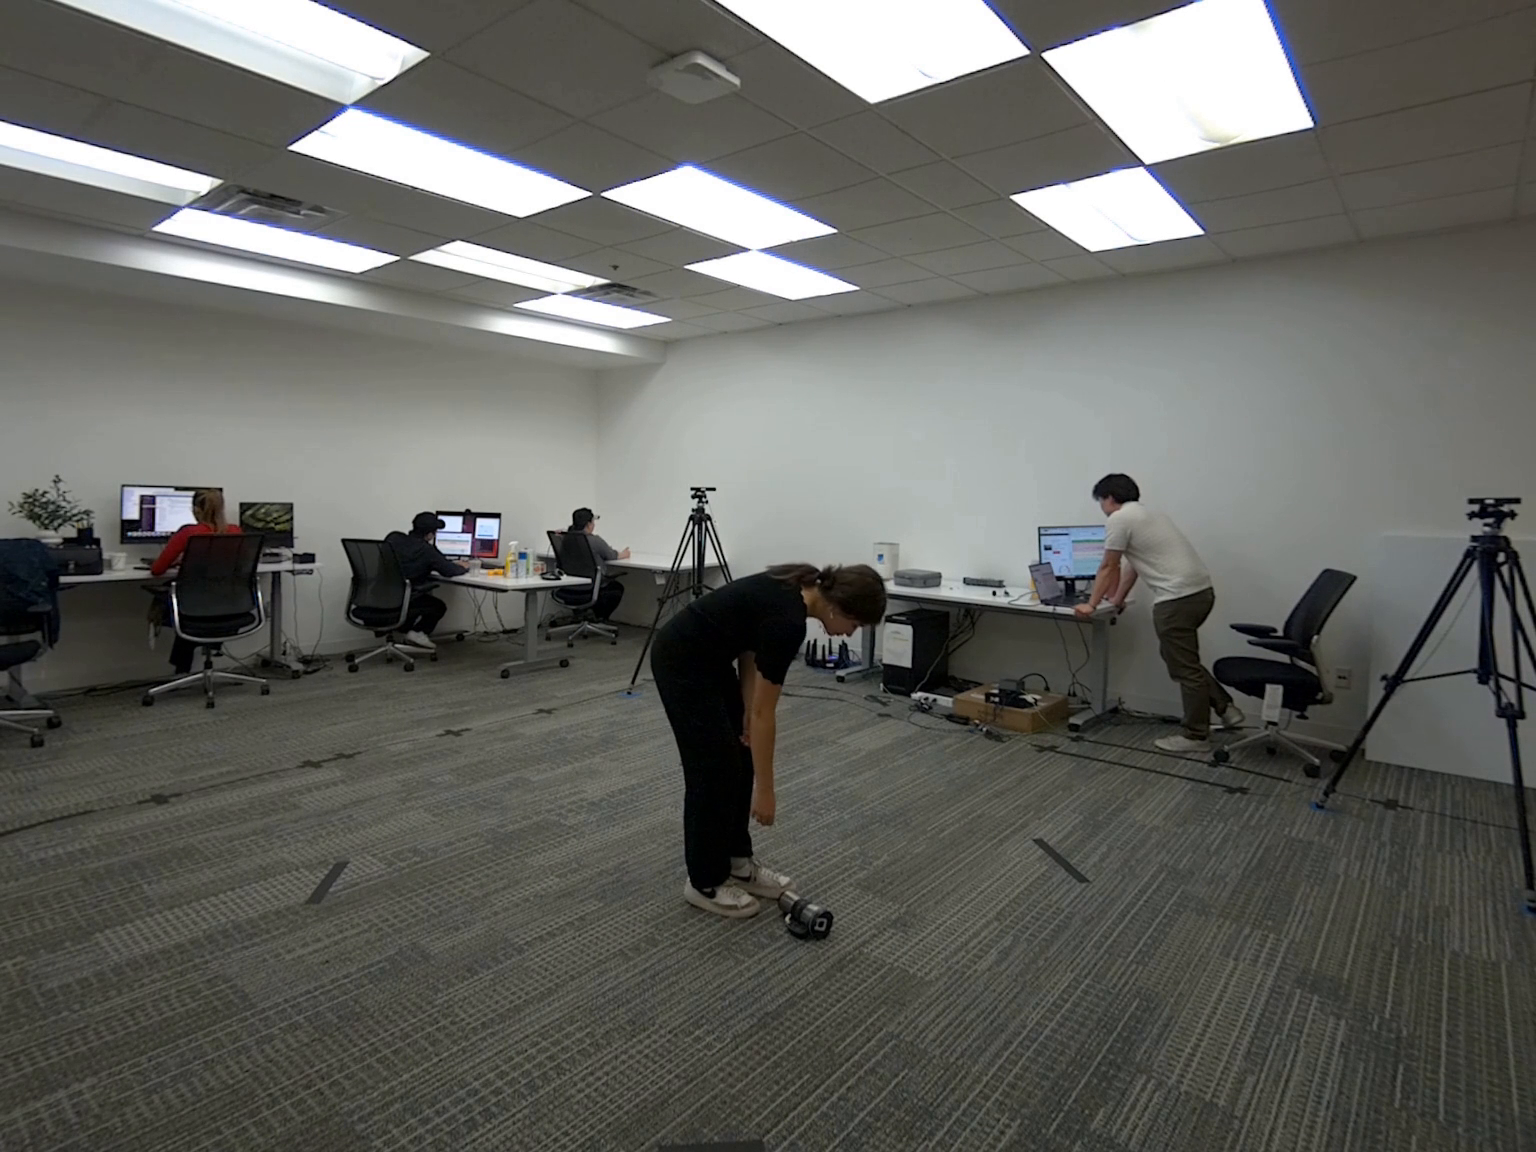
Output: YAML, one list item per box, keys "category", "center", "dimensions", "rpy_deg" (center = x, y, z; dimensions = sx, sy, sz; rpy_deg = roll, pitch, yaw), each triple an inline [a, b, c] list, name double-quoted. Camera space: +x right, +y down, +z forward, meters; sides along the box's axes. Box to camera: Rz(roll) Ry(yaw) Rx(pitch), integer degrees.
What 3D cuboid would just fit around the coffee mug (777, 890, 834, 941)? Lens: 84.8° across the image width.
- category: "coffee mug"
  center: [0.094, 1.064, 2.705]
  dimensions: [0.118, 0.088, 0.209]
  rpy_deg: [13, -4, -36]
